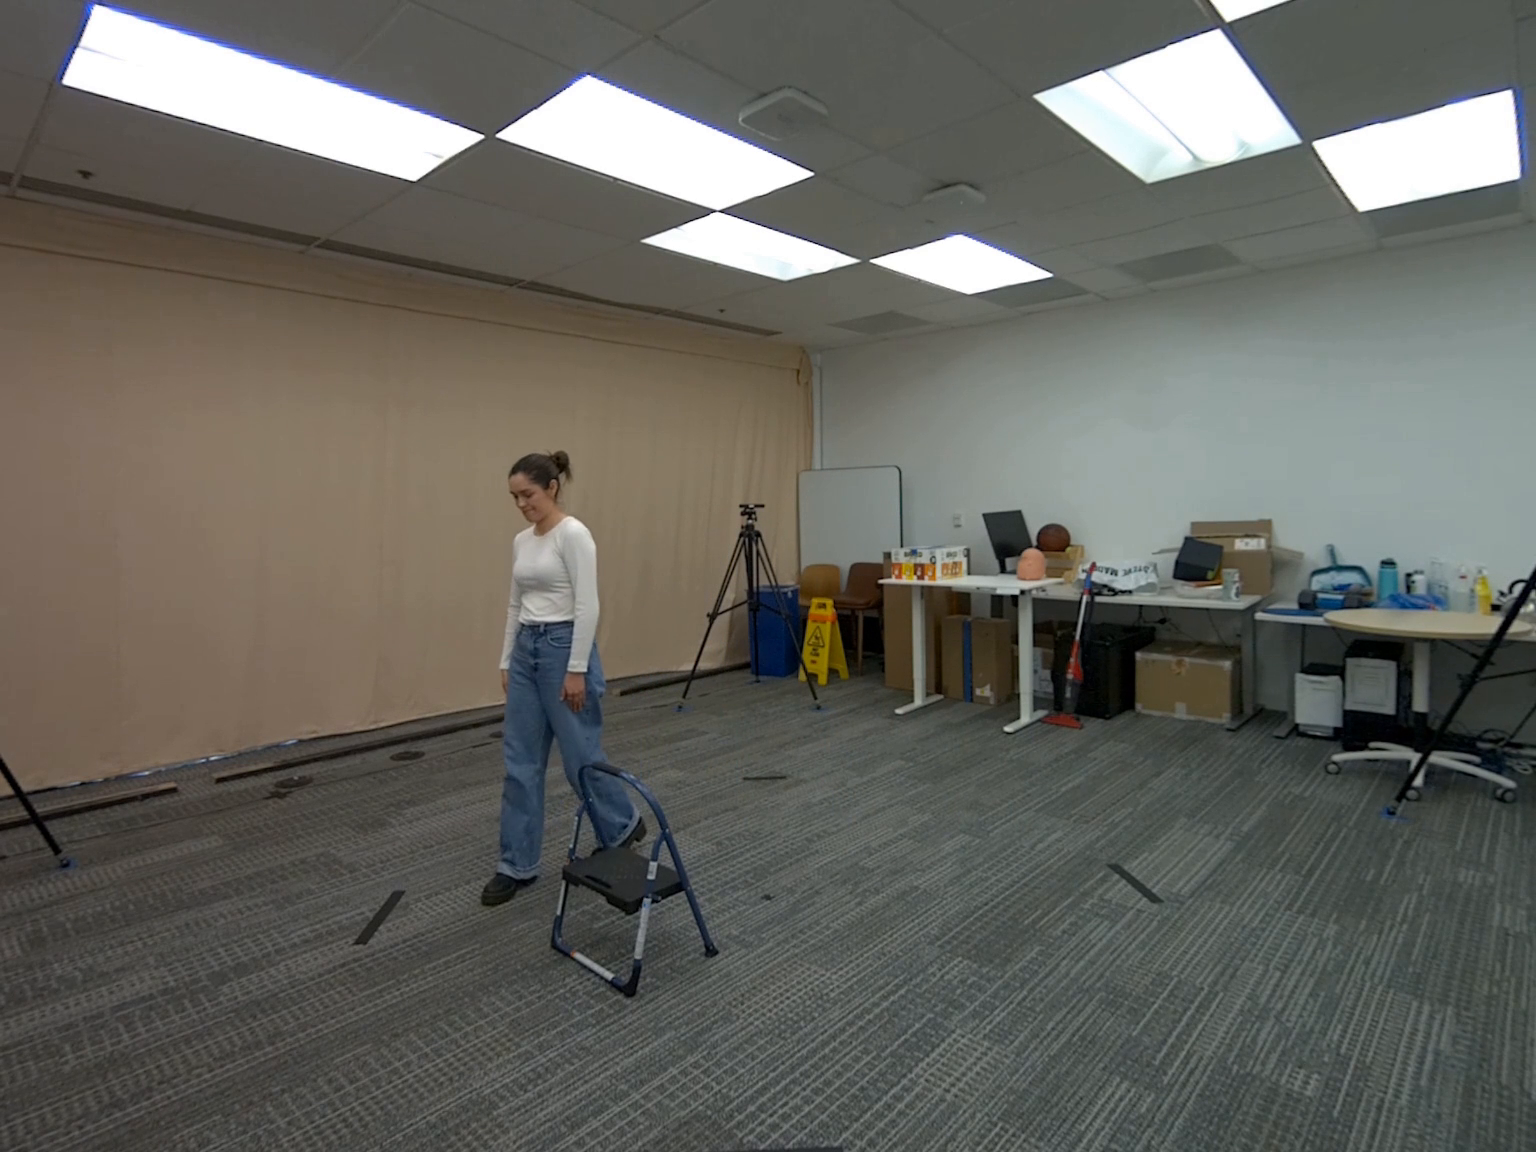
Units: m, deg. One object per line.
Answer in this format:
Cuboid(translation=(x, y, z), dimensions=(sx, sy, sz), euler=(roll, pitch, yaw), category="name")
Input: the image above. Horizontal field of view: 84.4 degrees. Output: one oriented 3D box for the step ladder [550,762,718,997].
Cuboid(translation=(-0.429, 0.876, 2.633), dimensions=(0.445, 0.605, 0.339), euler=(2, 5, 43), category="step ladder")
